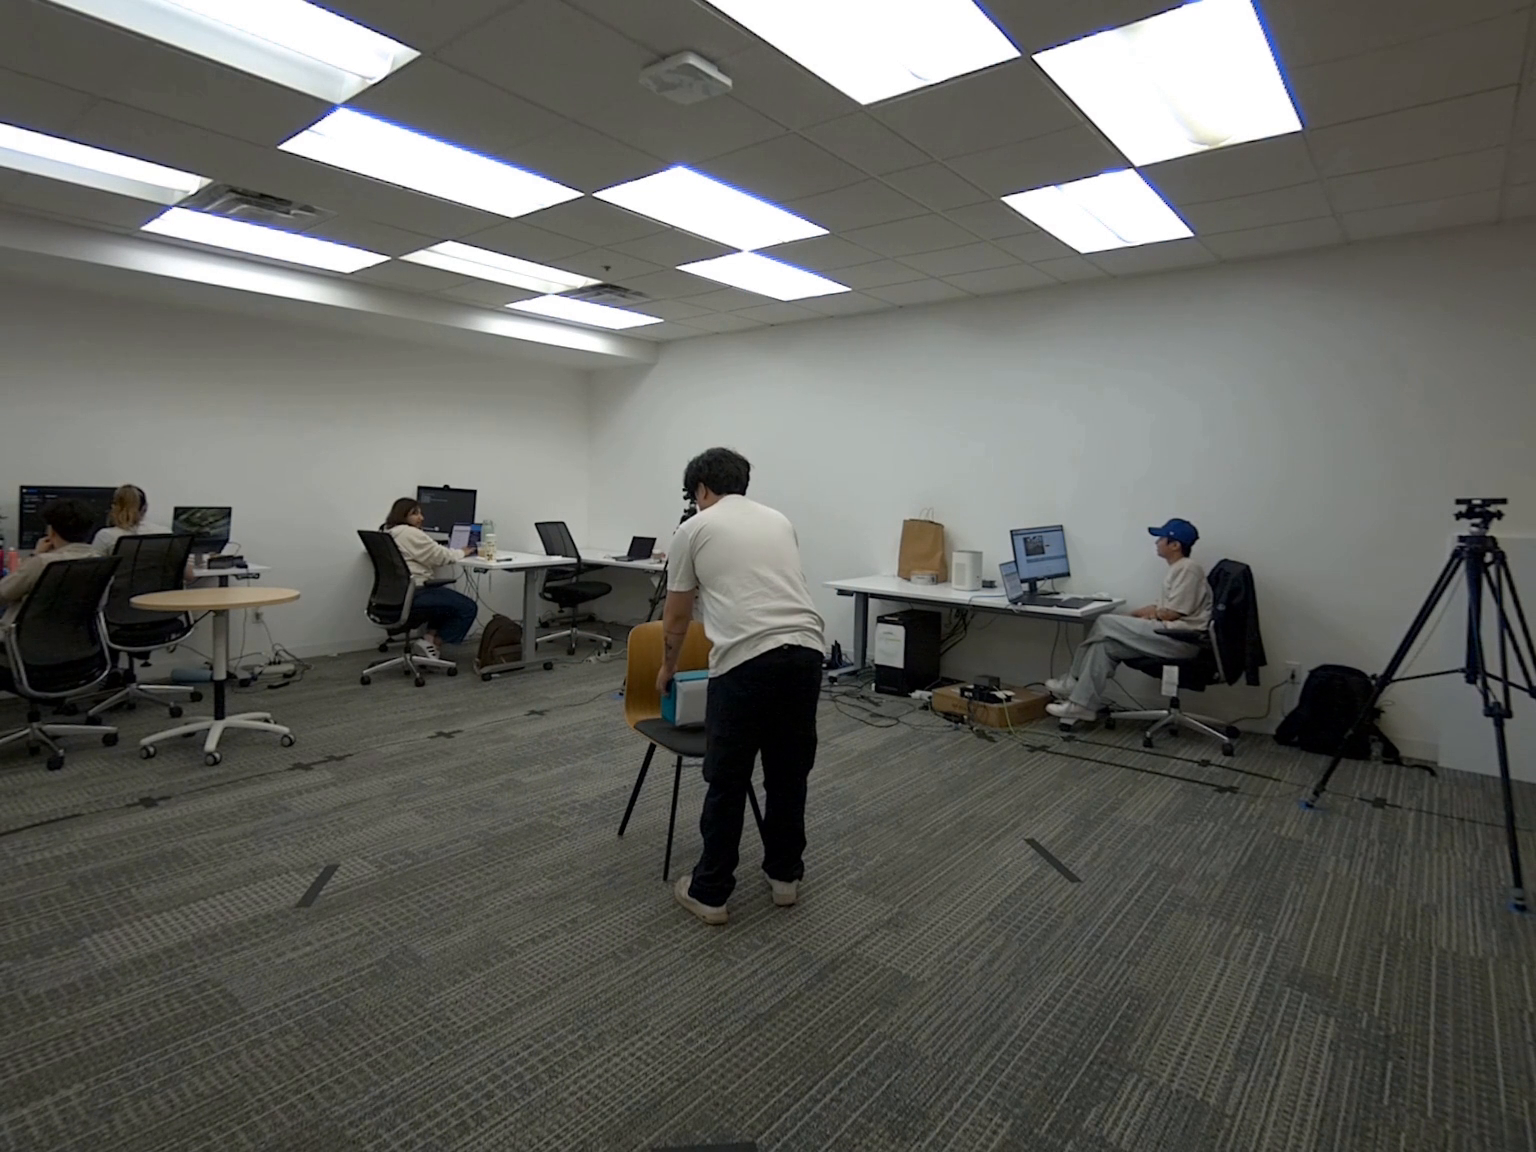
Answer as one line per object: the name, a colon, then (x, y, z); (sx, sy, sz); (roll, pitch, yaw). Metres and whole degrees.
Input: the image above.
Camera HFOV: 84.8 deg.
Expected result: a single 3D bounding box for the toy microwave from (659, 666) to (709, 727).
toy microwave: (-0.260, 0.456, 3.243); (0.279, 0.184, 0.156); (-1, 3, -25)
